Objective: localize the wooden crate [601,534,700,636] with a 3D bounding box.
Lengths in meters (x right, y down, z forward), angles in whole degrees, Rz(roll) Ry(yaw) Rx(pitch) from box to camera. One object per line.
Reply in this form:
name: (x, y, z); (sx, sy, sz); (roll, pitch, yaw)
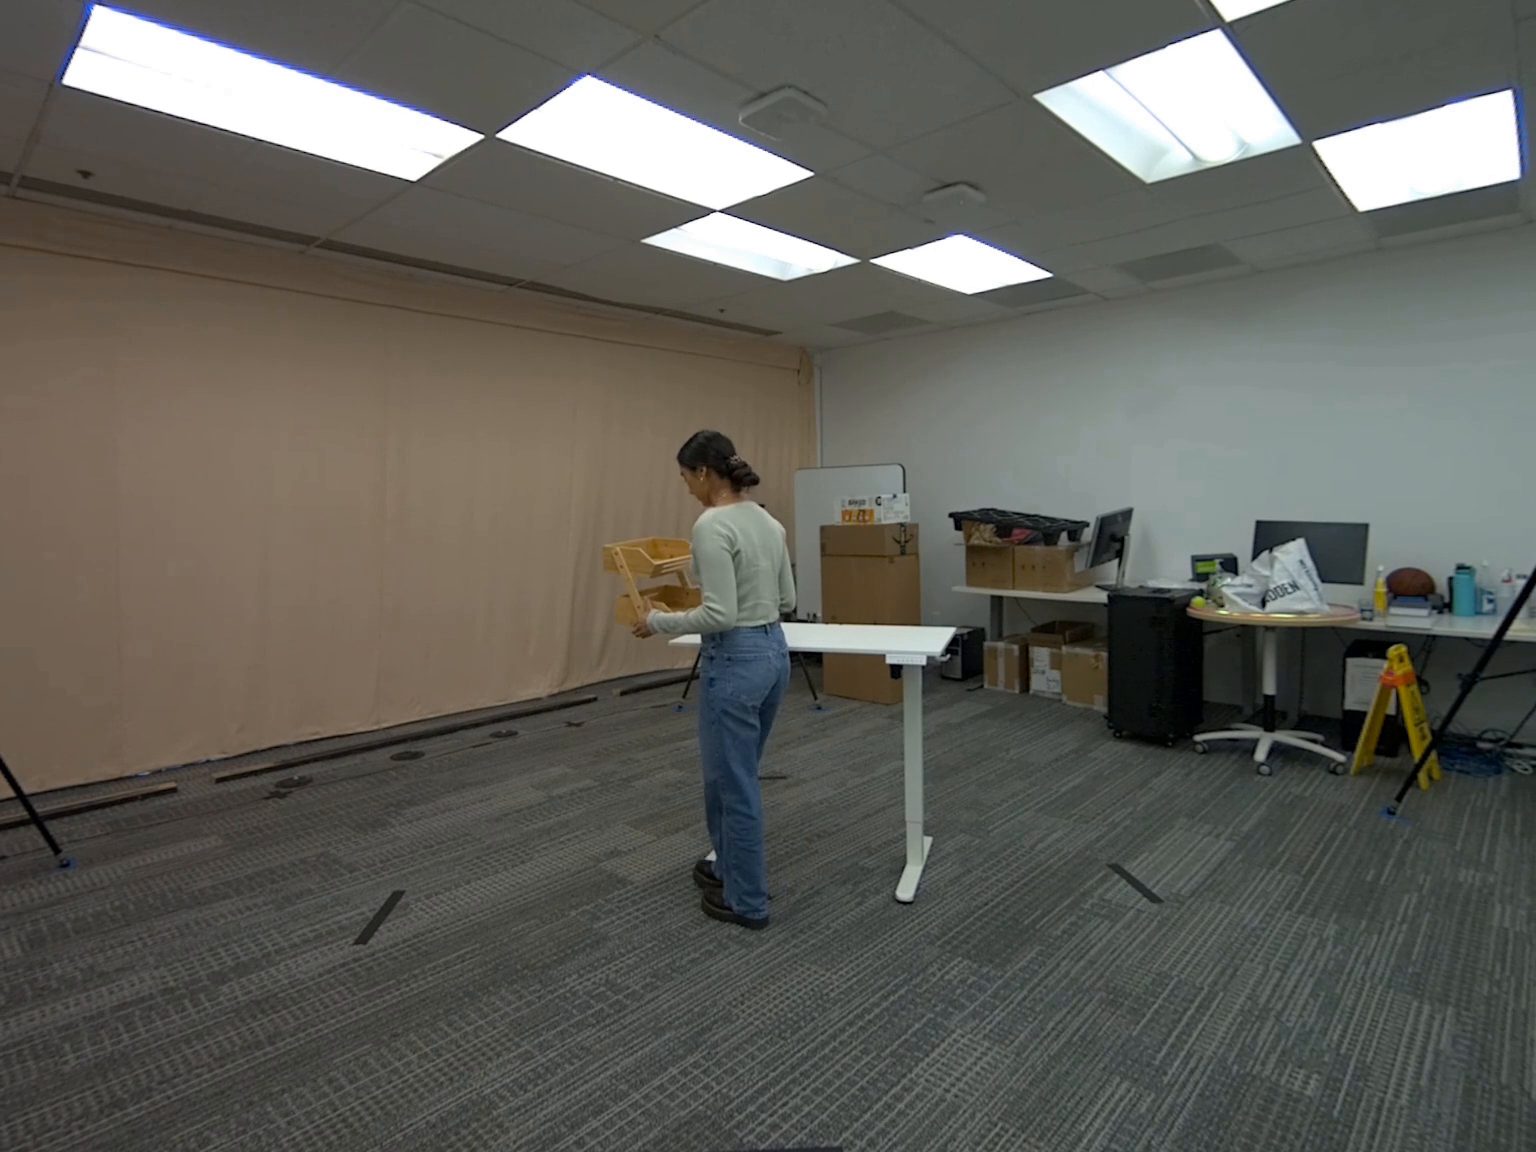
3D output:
wooden crate: (-0.347, 0.019, 2.885); (0.311, 0.272, 0.317); (6, 9, 28)
